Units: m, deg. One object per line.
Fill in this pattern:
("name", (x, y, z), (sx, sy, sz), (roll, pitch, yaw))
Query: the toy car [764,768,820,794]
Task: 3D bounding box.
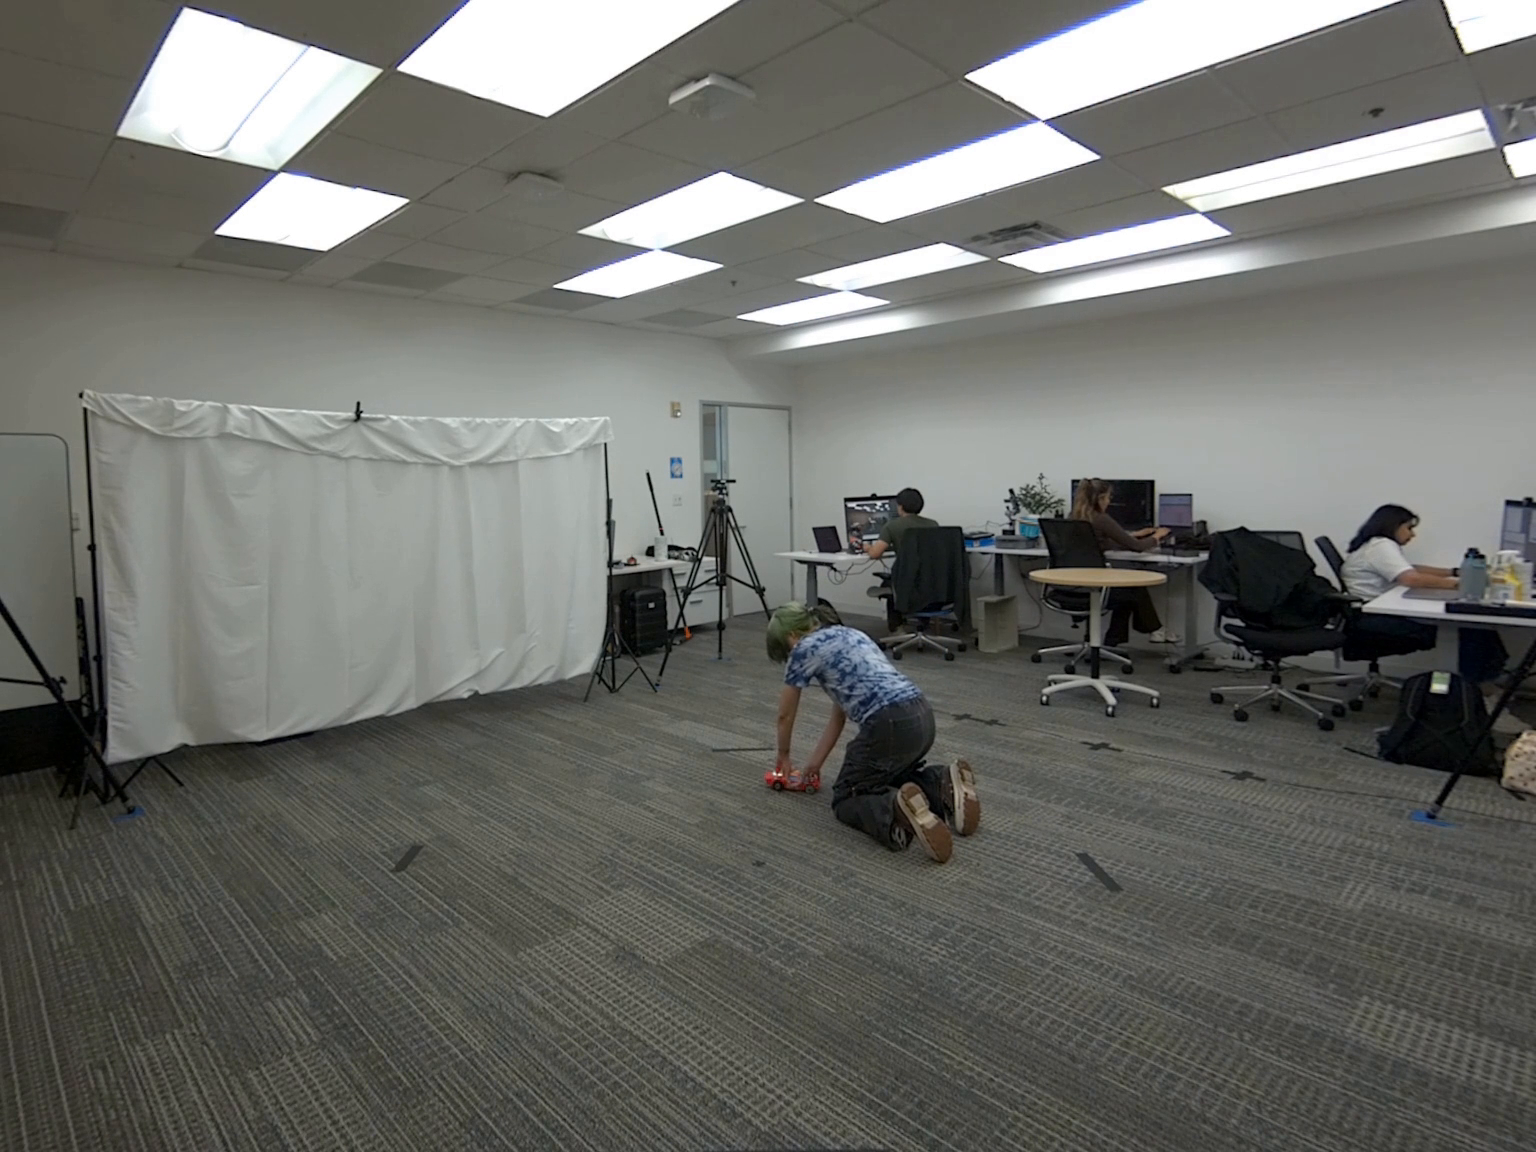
("toy car", (0.101, 0.929, 3.871), (0.259, 0.083, 0.128), (14, 6, 14))
